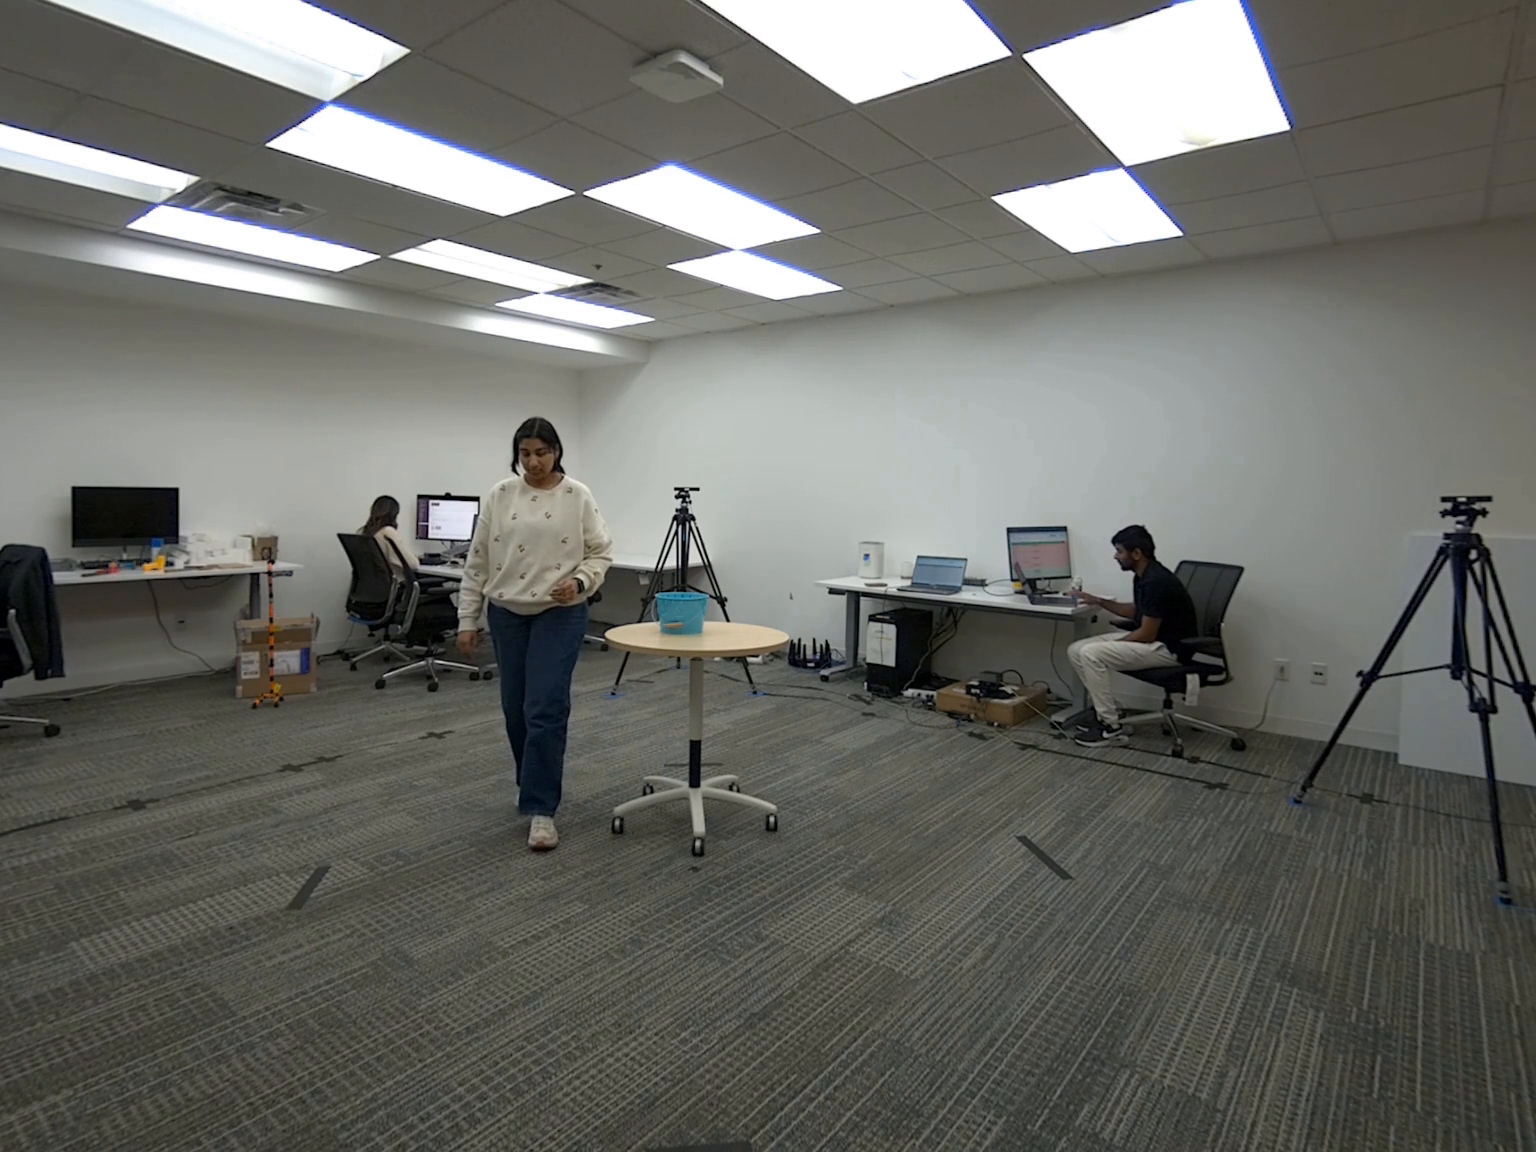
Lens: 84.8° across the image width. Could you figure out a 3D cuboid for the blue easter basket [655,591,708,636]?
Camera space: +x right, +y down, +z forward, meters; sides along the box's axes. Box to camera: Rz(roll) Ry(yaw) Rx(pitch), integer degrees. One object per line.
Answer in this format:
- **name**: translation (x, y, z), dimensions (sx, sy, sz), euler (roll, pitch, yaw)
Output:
- **blue easter basket**: translation (-0.396, 0.162, 3.626), dimensions (0.243, 0.156, 0.244), euler (1, 3, -2)
